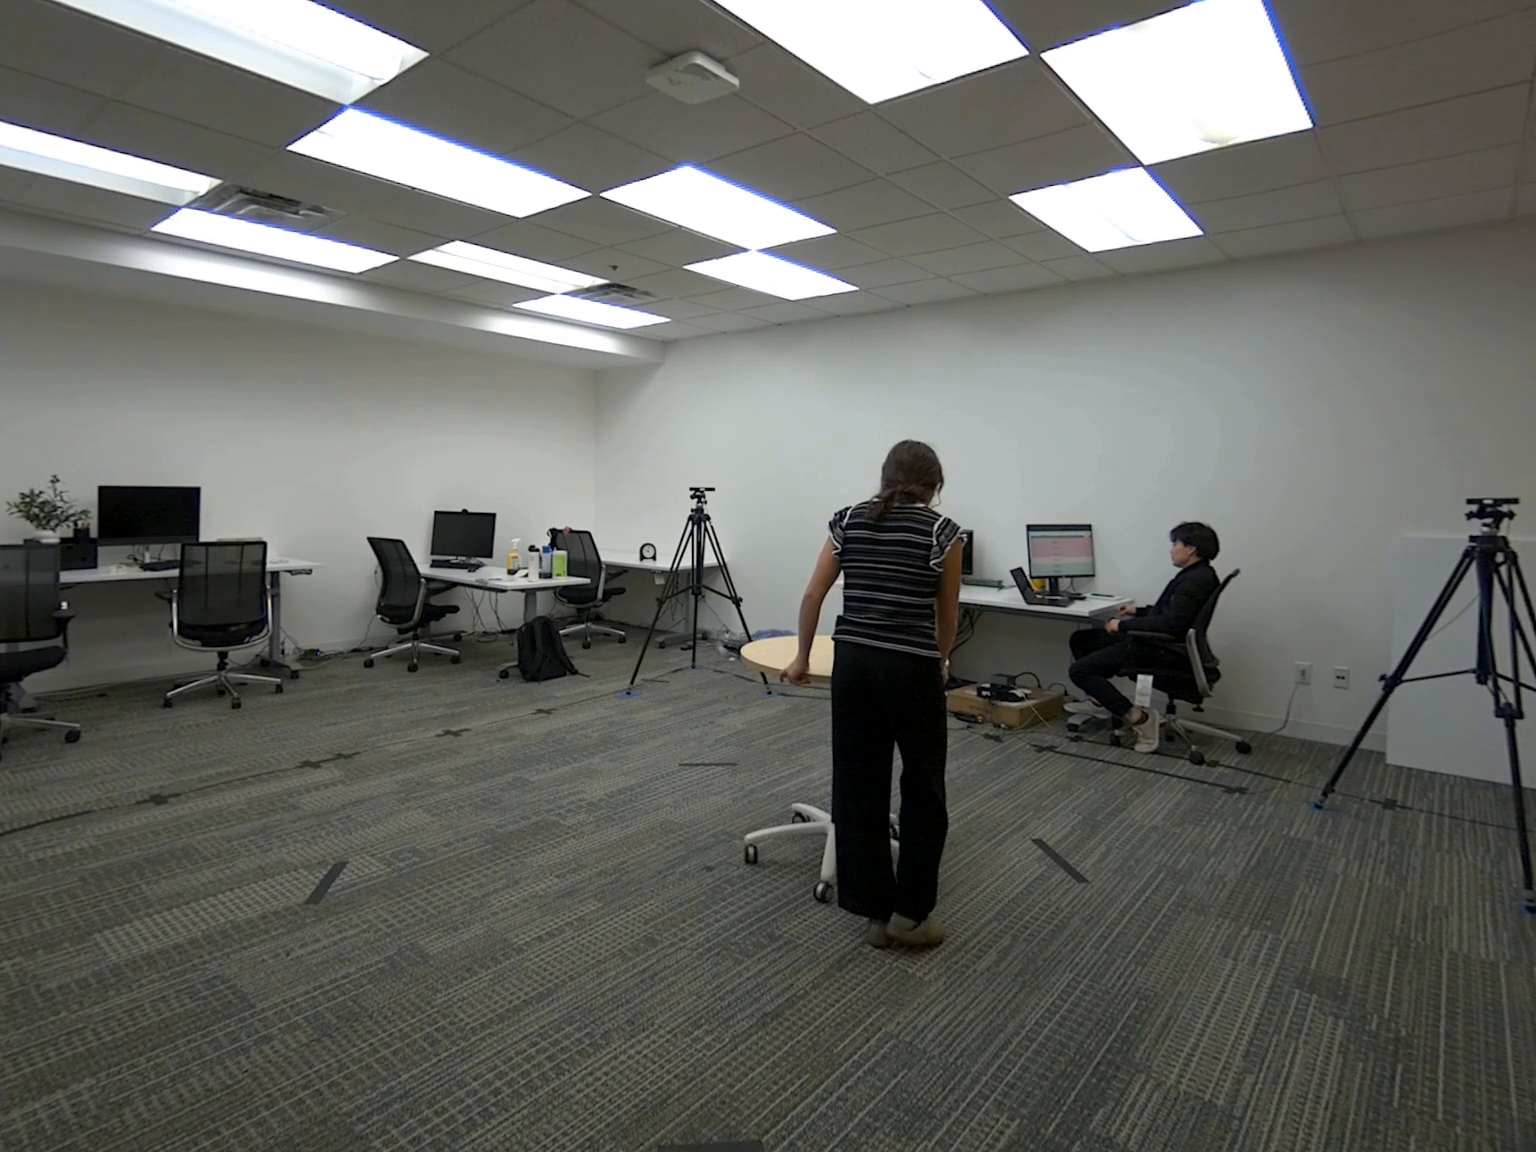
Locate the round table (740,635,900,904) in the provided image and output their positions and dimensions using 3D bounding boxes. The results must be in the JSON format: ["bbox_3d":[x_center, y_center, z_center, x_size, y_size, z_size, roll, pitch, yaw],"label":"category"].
[{"bbox_3d":[0.254,0.680,3.198,0.763,0.791,0.768,2,5,-2],"label":"round table"}]
